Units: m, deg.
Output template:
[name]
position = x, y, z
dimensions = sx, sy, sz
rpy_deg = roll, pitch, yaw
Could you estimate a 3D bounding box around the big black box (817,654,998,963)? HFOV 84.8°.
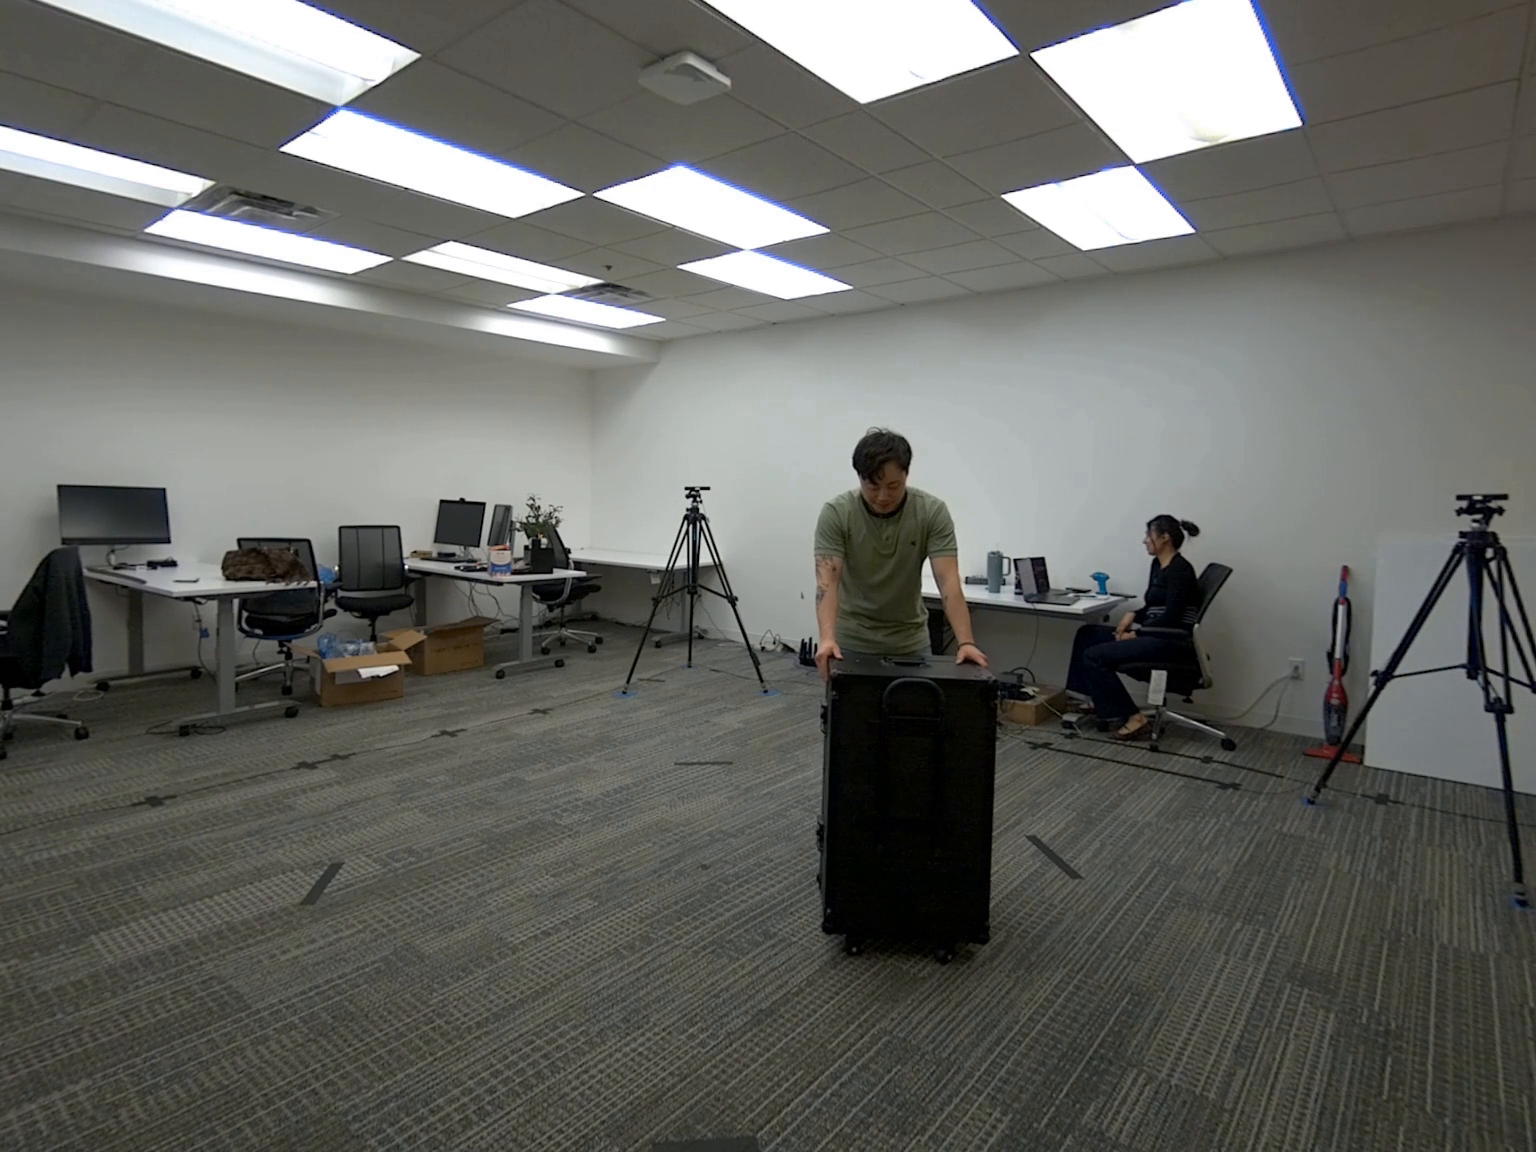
[big black box]
position = 0.412, 0.697, 2.643
dimensions = 0.524, 0.858, 0.395
rpy_deg = 2, 4, 5
